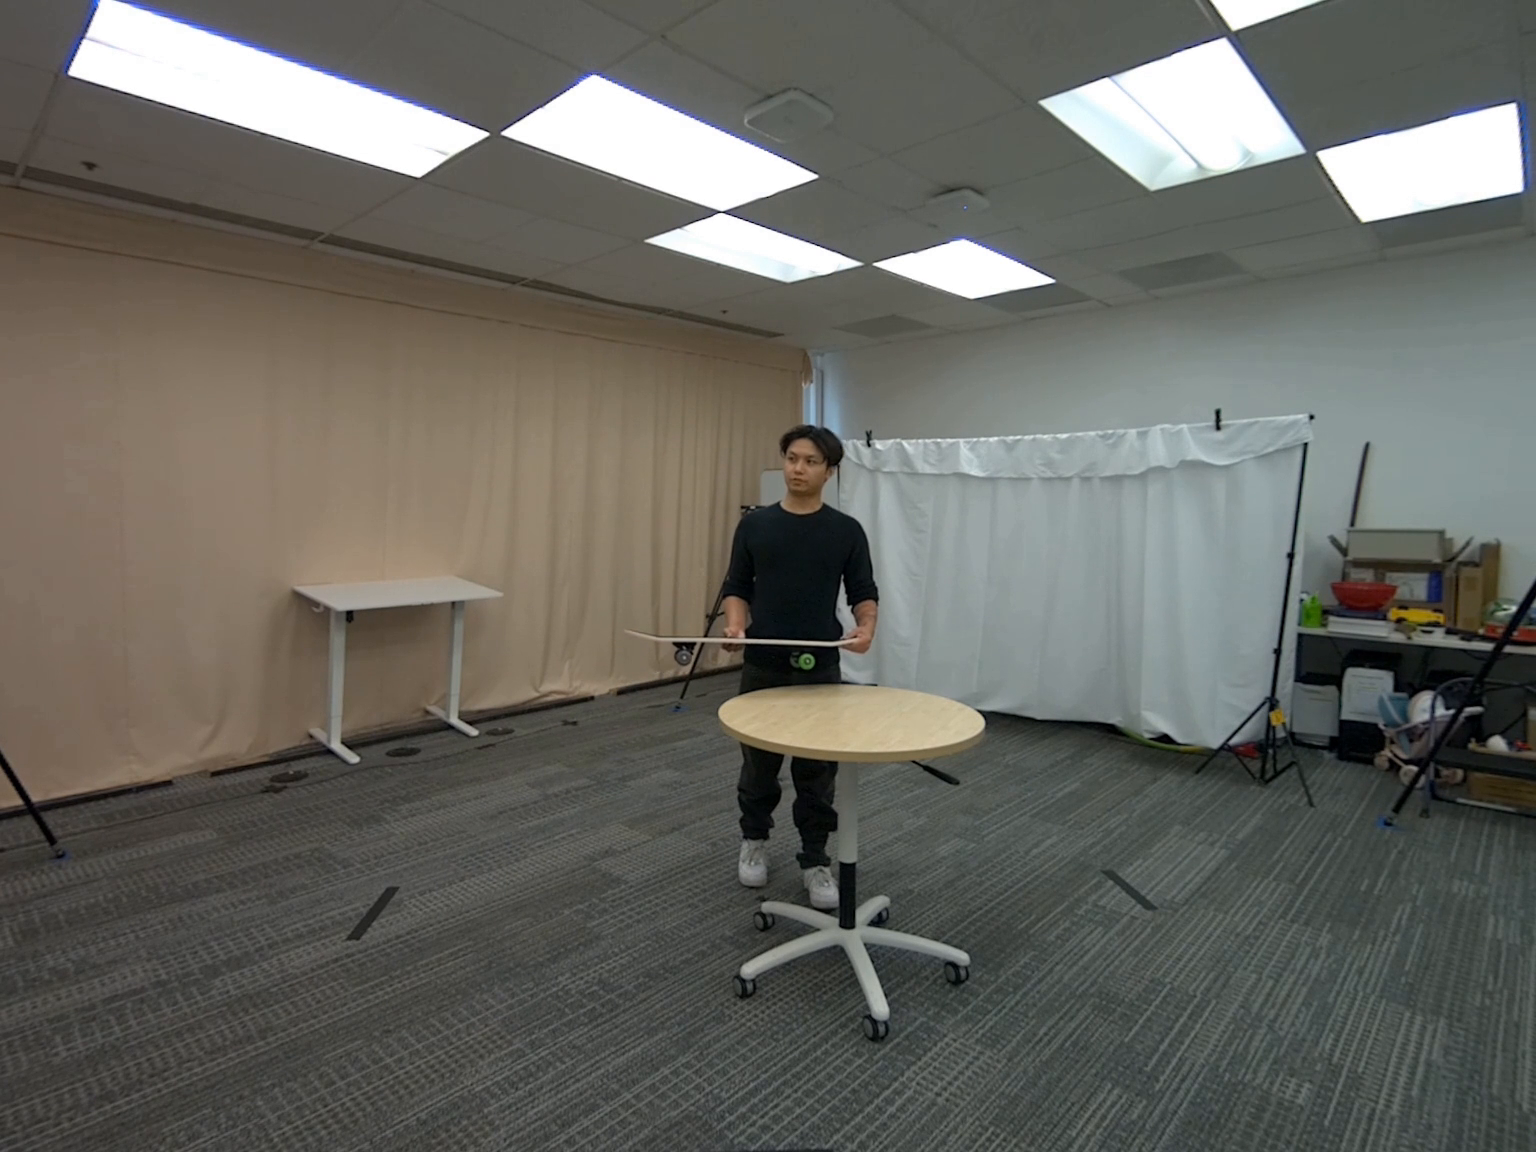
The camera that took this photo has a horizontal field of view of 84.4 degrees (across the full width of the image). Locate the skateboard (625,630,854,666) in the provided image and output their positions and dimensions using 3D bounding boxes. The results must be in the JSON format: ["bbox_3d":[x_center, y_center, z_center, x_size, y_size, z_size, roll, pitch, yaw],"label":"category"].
[{"bbox_3d":[-0.055,0.241,2.793,0.780,0.110,0.194,1,-1,-6],"label":"skateboard"}]
